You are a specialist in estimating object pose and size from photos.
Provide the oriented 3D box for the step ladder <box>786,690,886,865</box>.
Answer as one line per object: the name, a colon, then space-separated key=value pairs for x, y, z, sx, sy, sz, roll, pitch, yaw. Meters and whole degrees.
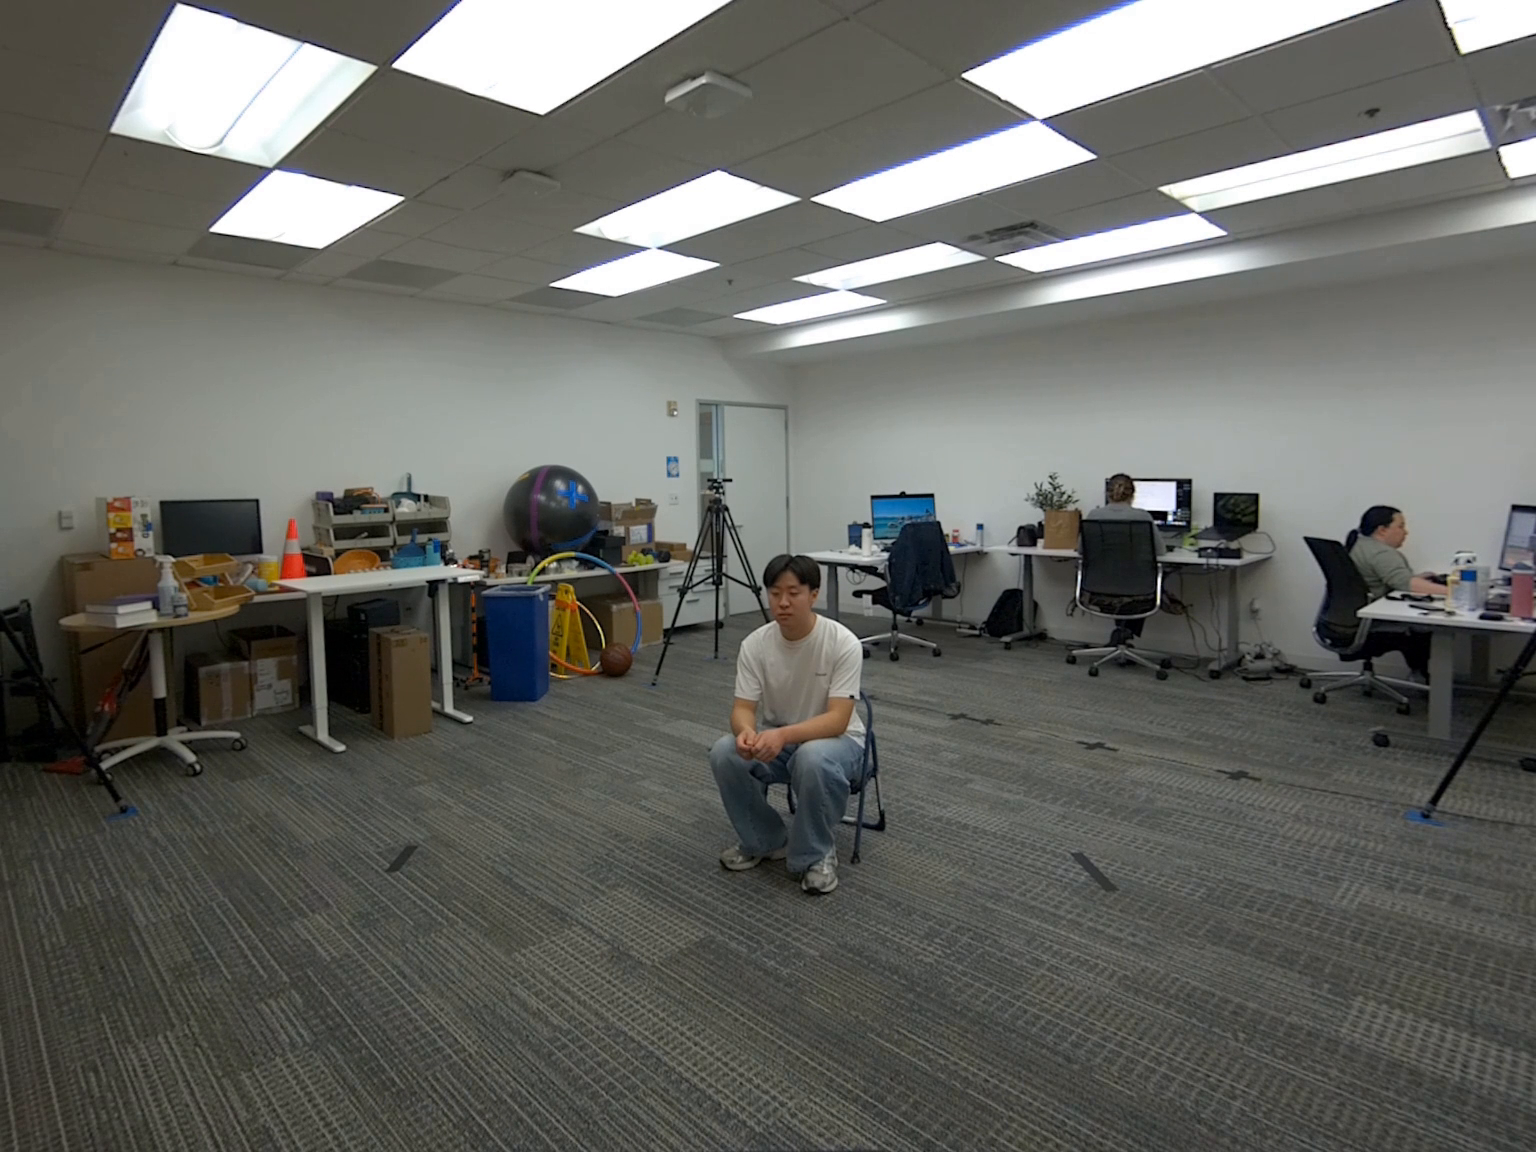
step ladder: x=0.214 y=0.717 z=3.327 sx=0.442 sy=0.604 sz=0.342 roll=2 pitch=5 yaw=28
